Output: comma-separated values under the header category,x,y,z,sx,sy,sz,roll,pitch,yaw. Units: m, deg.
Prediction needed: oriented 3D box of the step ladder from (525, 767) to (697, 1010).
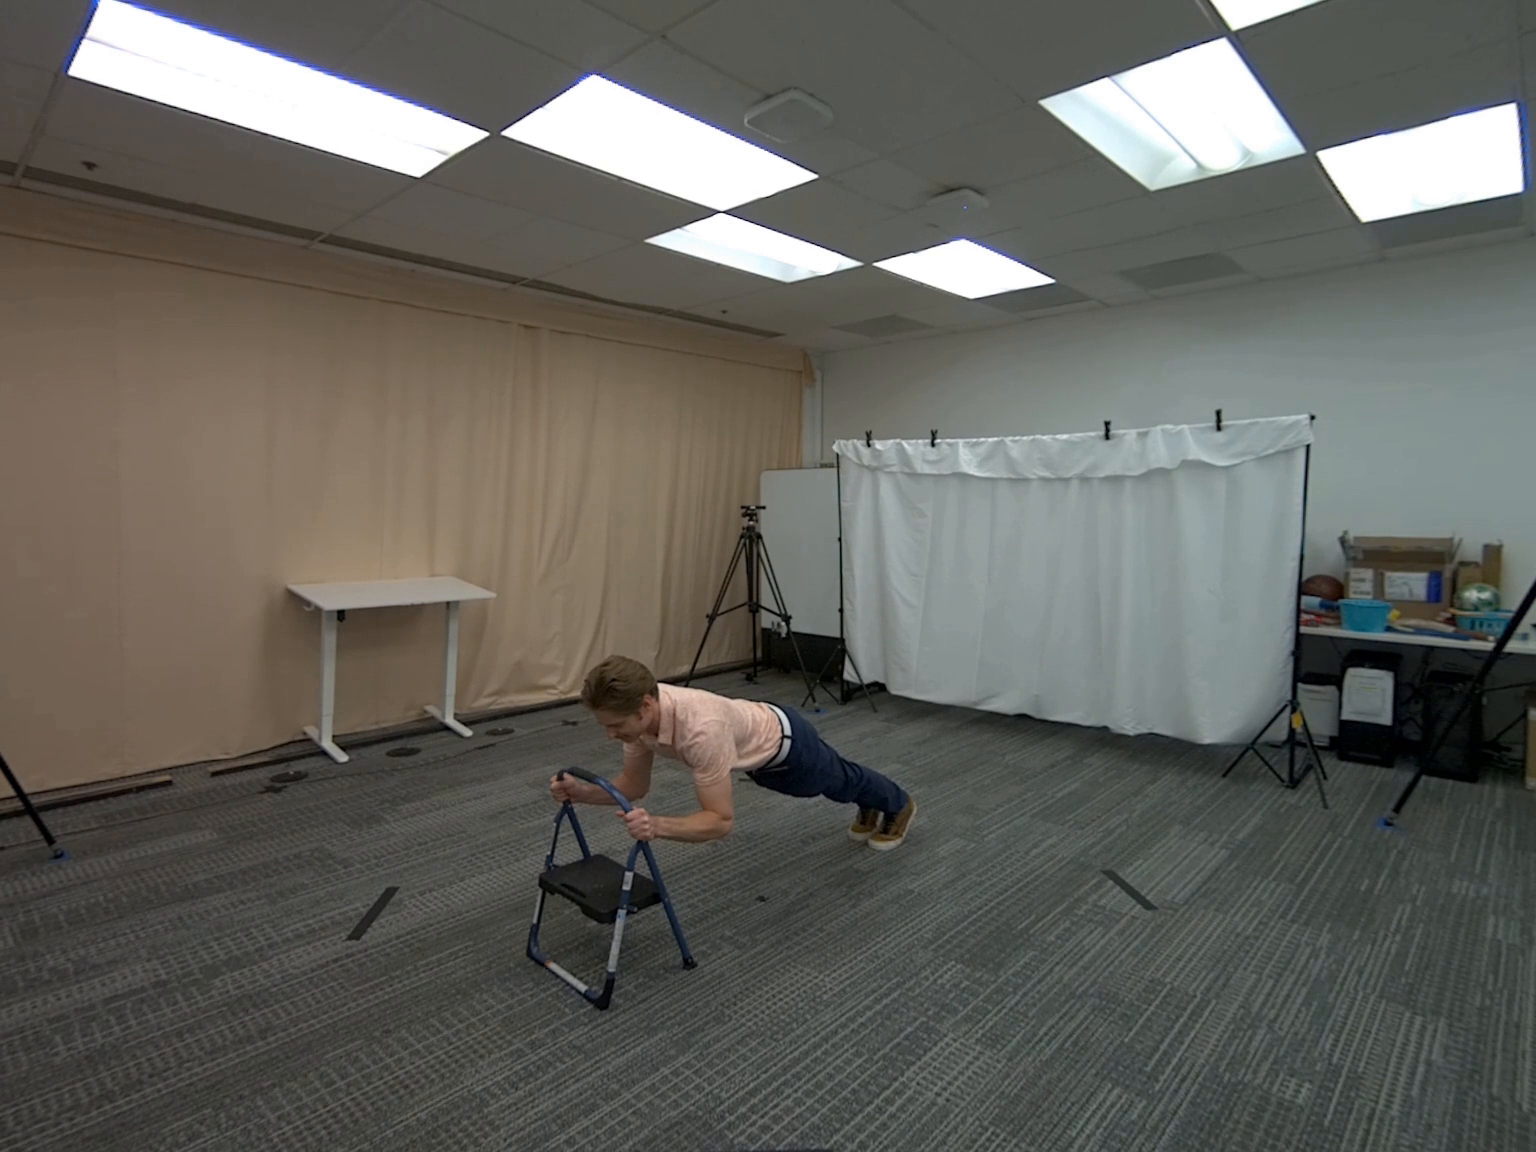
category,x,y,z,sx,sy,sz,roll,pitch,yaw
step ladder,-0.488,0.882,2.566,0.445,0.605,0.338,3,5,44
